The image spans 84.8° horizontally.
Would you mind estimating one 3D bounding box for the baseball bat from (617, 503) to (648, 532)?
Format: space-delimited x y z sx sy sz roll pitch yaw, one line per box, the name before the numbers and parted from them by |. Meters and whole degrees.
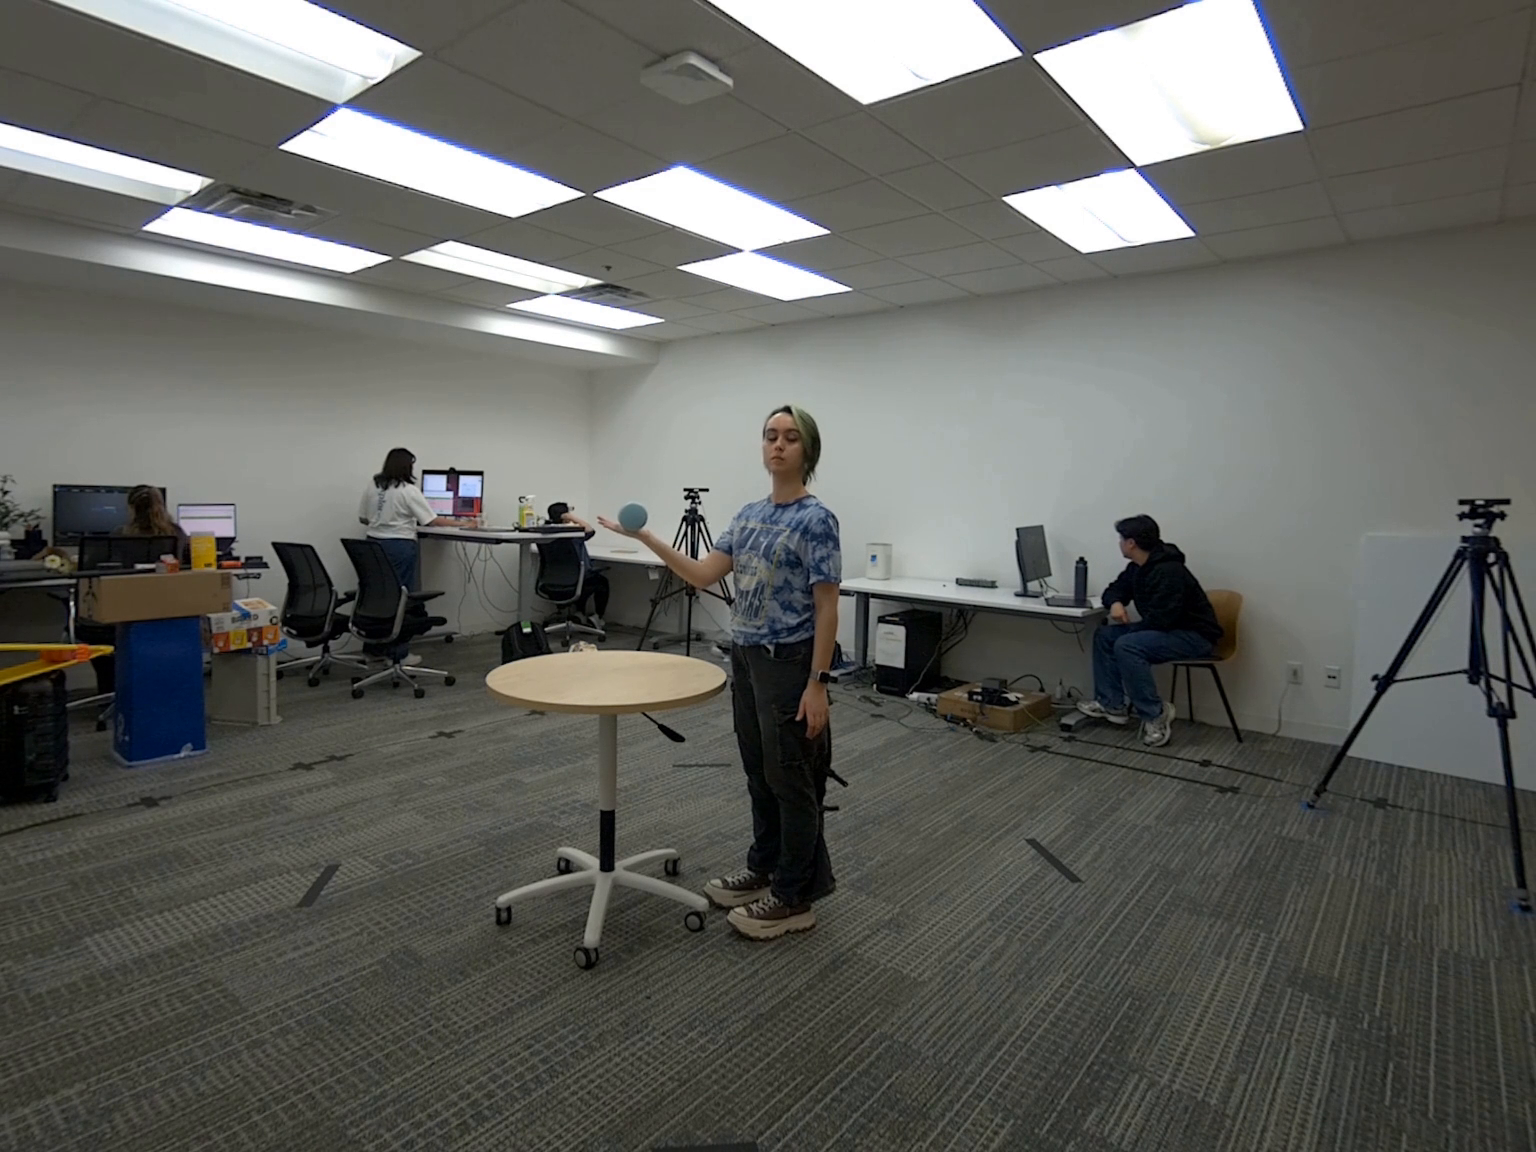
baseball bat | -0.465 -0.196 2.771 0.088 0.089 0.550 0 5 -11
